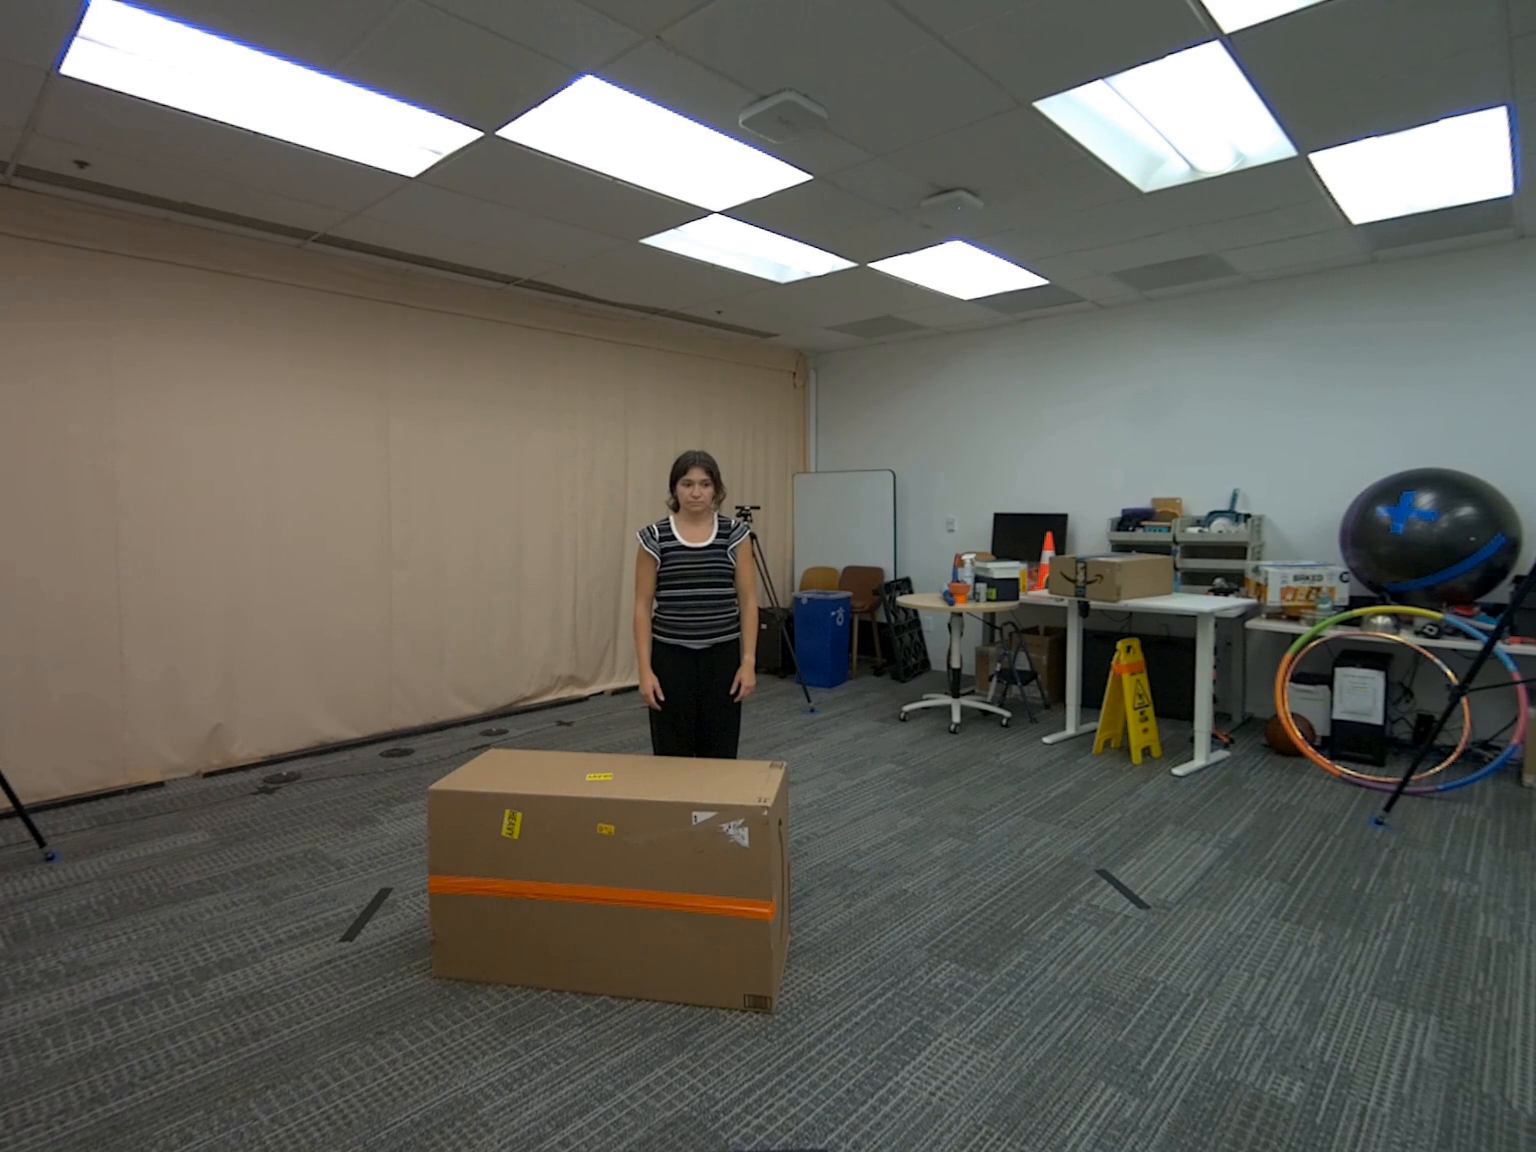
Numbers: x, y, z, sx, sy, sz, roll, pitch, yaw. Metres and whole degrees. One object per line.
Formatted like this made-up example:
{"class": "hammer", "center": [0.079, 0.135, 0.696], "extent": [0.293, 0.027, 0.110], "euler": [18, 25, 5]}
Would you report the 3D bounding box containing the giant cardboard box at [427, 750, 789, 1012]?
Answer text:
{"class": "giant cardboard box", "center": [-0.466, 0.894, 2.586], "extent": [1.038, 0.576, 0.422], "euler": [0, 3, 10]}
